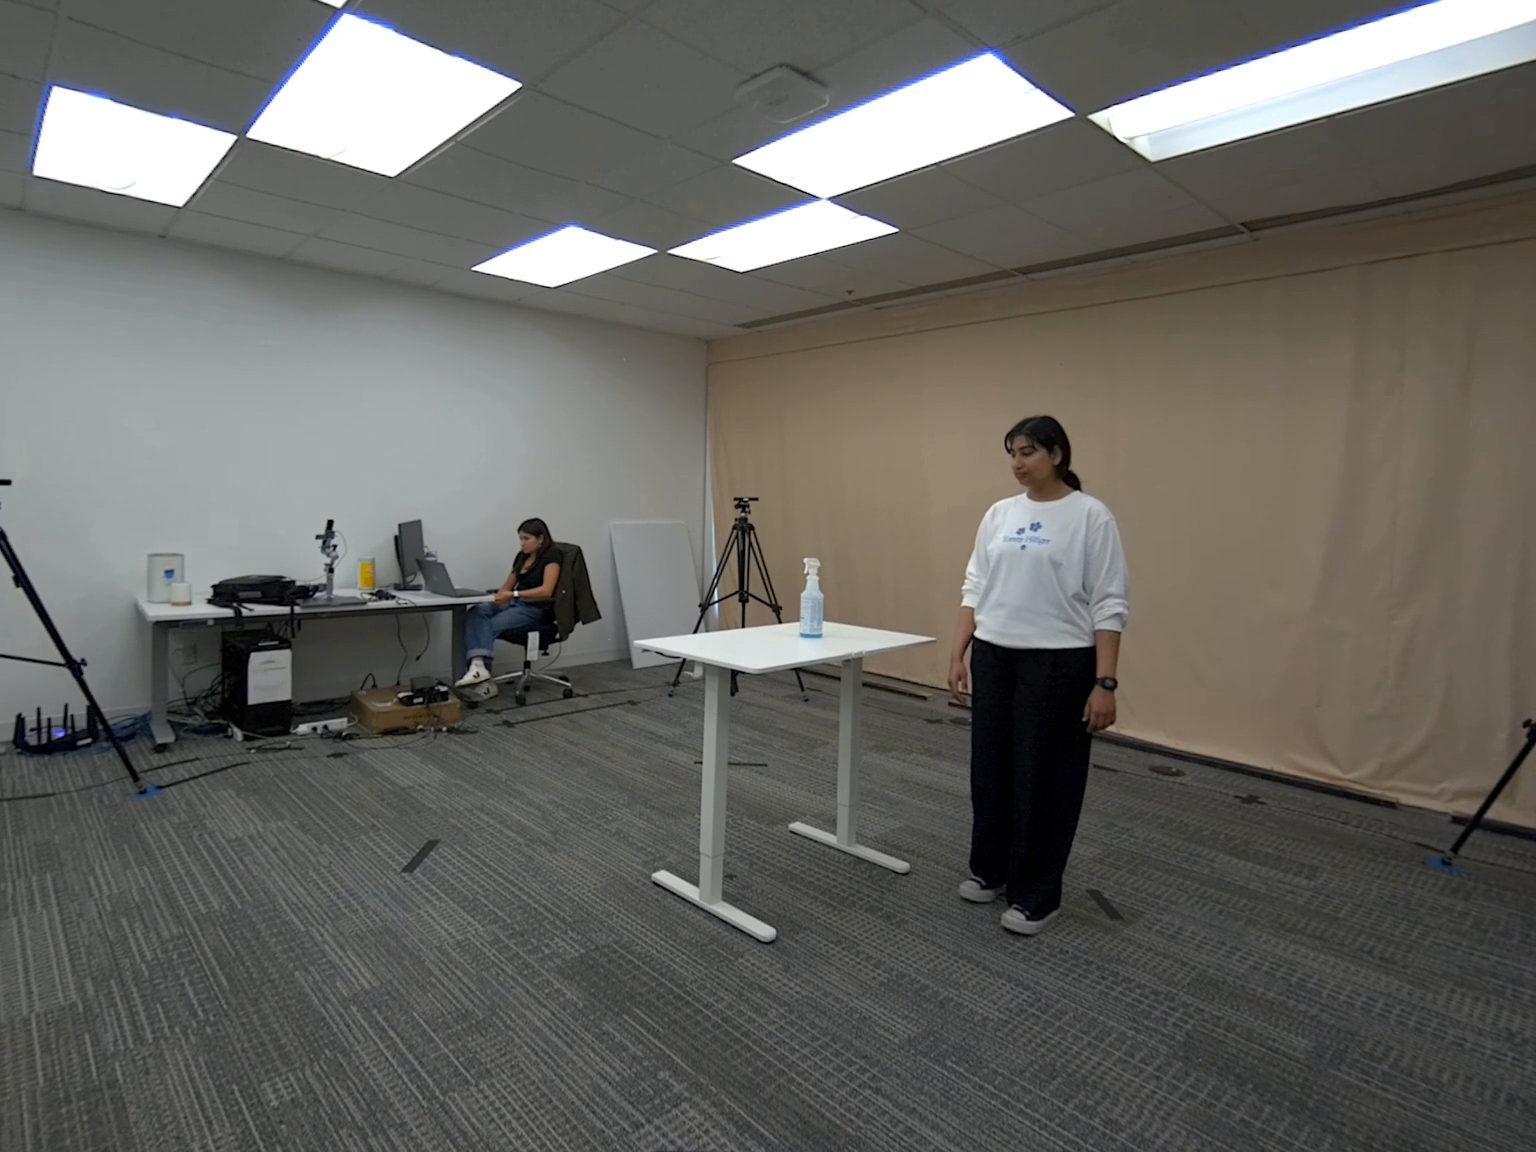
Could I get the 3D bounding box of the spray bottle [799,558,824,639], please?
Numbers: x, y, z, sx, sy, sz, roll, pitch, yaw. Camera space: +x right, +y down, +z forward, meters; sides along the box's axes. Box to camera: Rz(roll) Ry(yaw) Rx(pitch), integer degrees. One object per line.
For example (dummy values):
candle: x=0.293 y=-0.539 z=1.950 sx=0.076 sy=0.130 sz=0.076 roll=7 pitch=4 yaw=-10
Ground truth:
spray bottle: x=0.162 y=0.082 z=3.168 sx=0.088 sy=0.296 sz=0.089 roll=-1 pitch=4 yaw=-24
